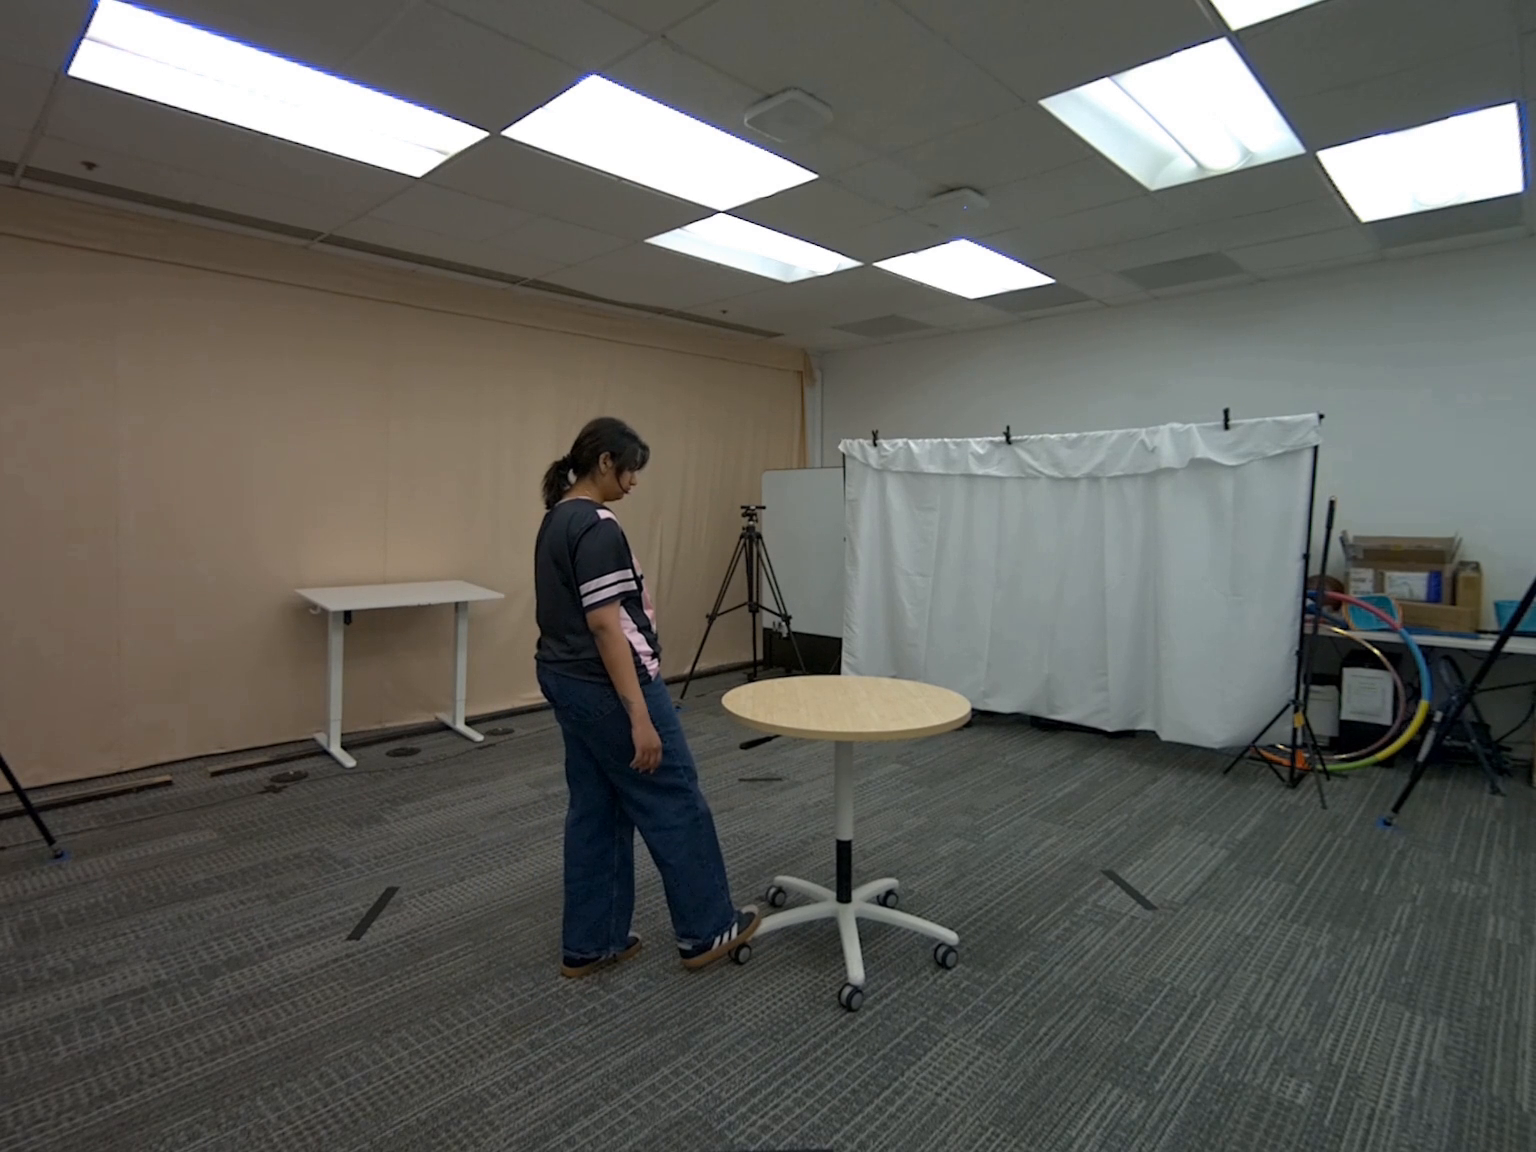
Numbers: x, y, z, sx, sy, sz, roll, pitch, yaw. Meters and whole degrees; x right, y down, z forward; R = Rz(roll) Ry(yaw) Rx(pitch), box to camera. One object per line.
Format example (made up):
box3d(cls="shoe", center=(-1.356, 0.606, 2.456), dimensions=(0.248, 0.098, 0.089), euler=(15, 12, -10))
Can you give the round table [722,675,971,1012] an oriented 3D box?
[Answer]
box3d(cls="round table", center=(0.250, 0.786, 2.646), dimensions=(0.763, 0.792, 0.766), euler=(0, 3, -2))
